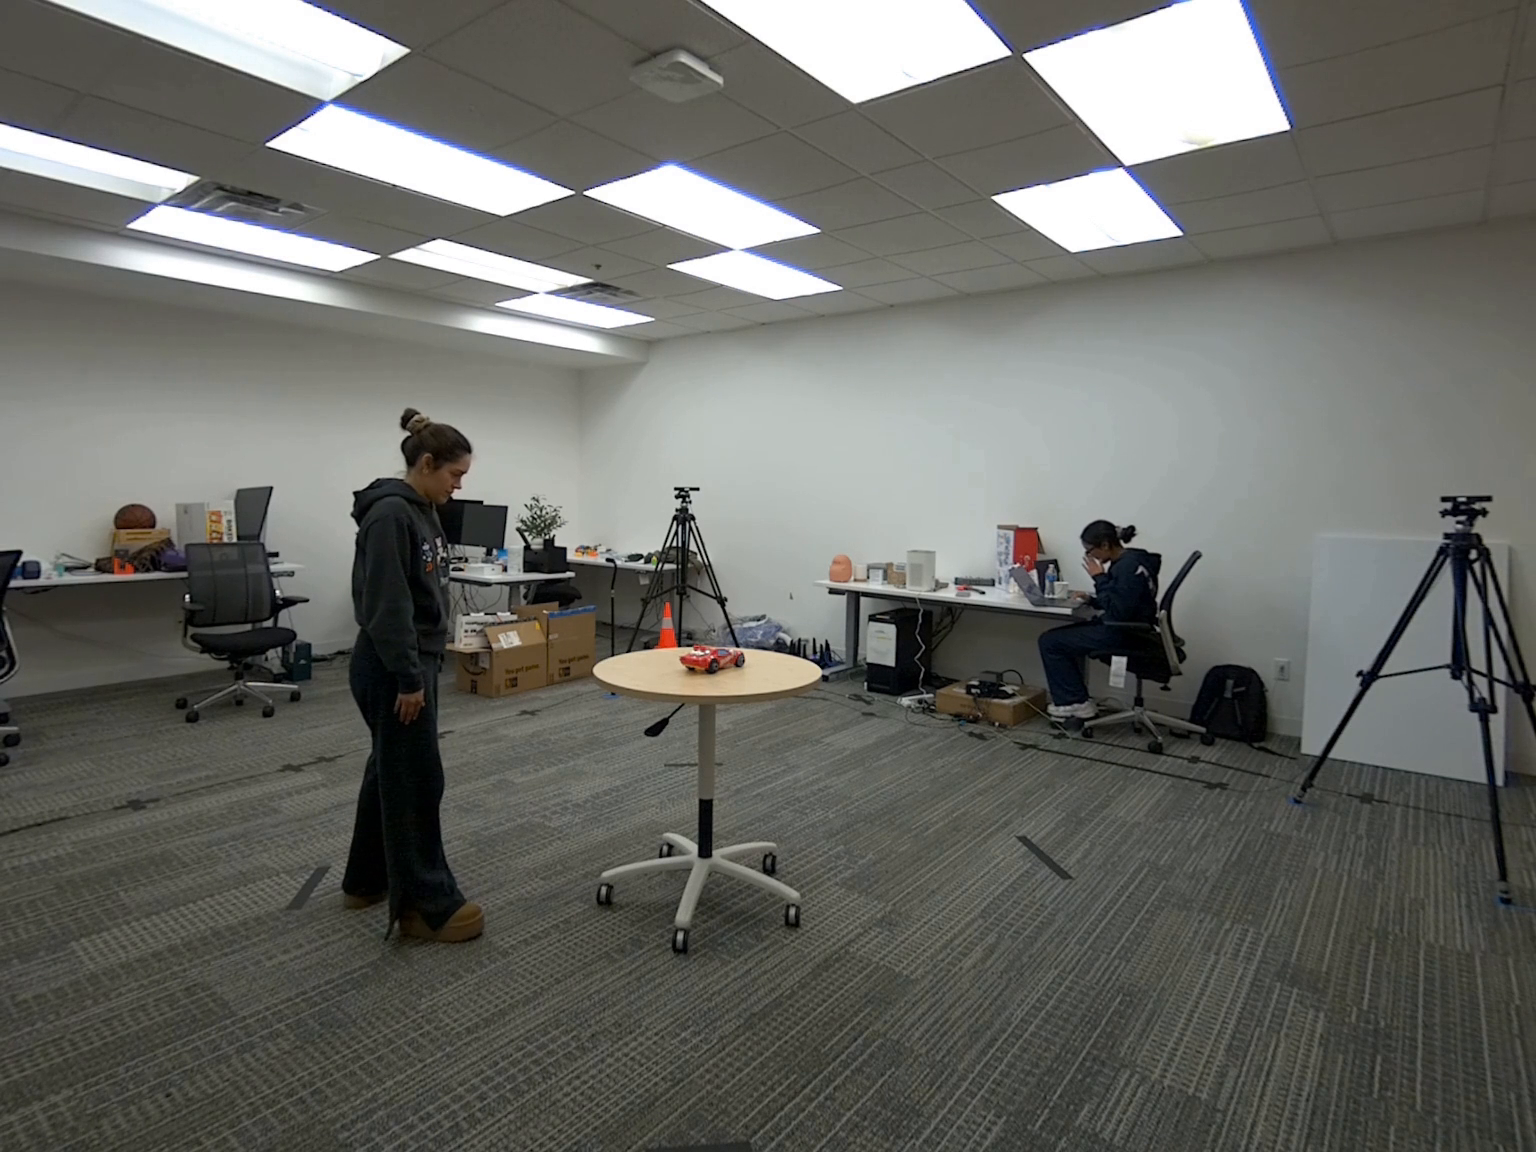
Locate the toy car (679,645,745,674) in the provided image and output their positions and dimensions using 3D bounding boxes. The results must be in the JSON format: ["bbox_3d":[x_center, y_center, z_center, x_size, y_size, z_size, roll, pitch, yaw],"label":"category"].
[{"bbox_3d":[-0.193,0.282,2.841,0.134,0.083,0.245,4,-4,38],"label":"toy car"}]
